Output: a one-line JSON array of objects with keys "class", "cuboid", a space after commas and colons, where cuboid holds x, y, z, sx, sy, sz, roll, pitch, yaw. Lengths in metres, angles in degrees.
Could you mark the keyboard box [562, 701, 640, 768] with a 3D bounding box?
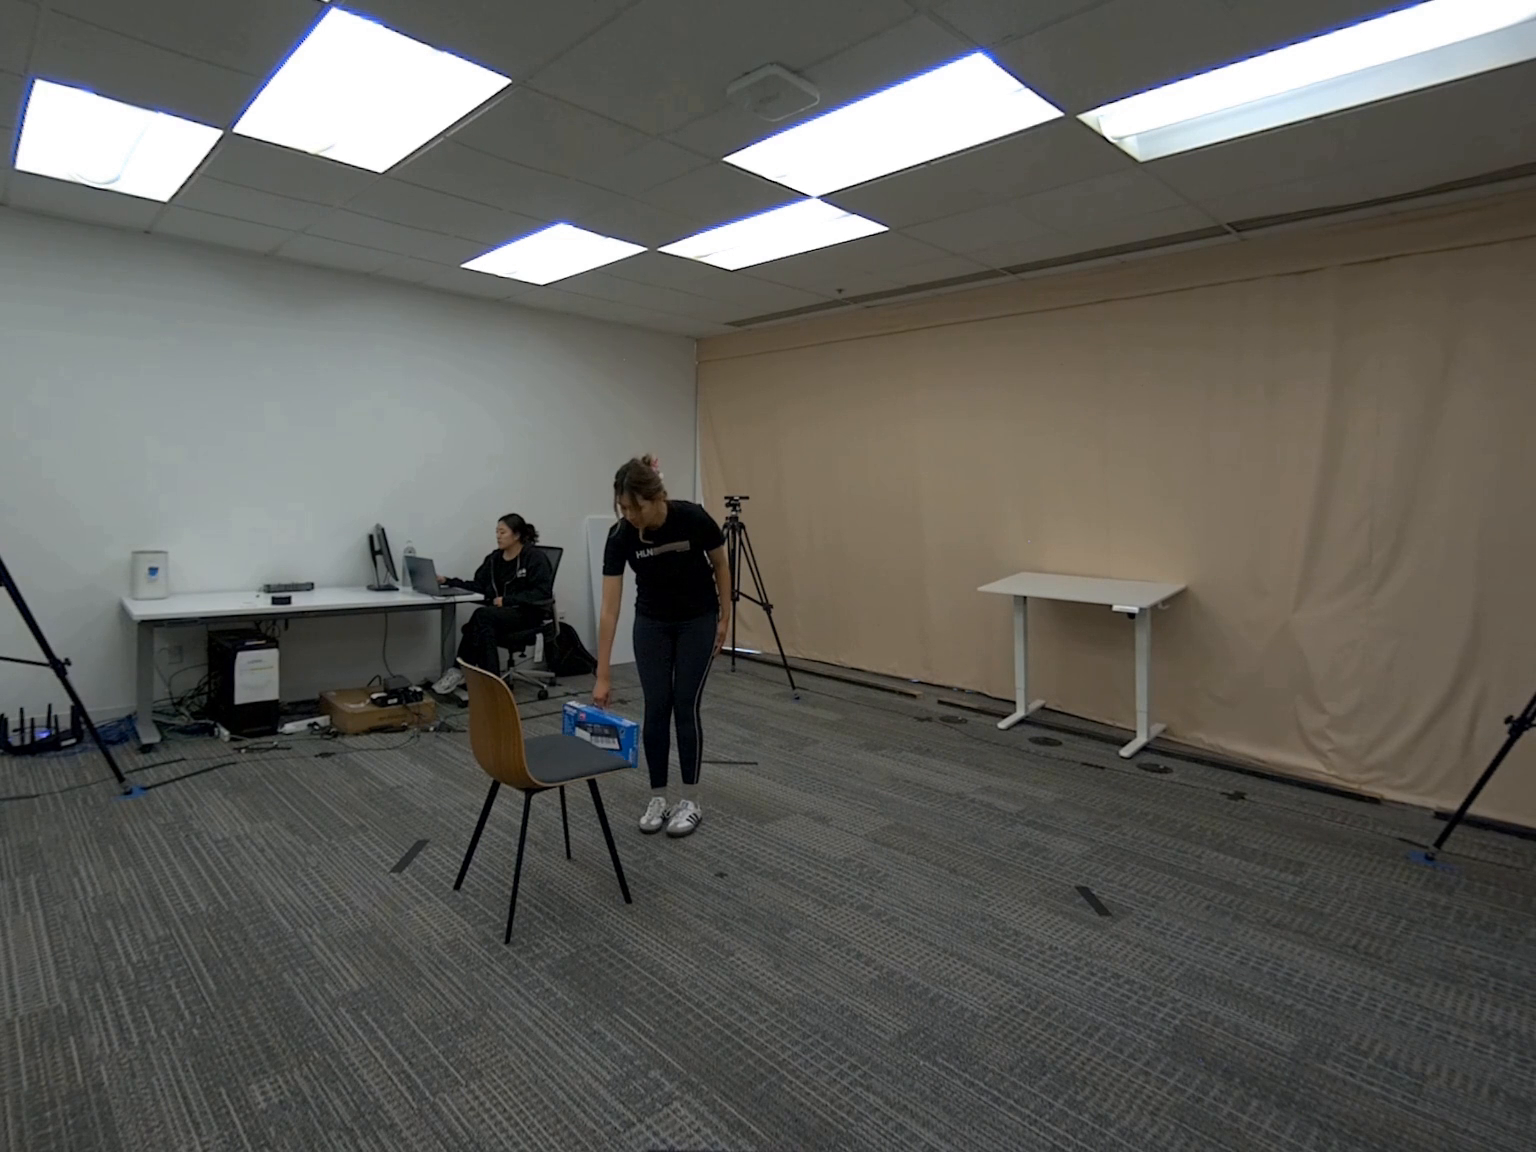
[{"class": "keyboard box", "cuboid": [-0.682, 0.635, 3.355, 0.448, 0.175, 0.058, 8, 5, 44]}]
